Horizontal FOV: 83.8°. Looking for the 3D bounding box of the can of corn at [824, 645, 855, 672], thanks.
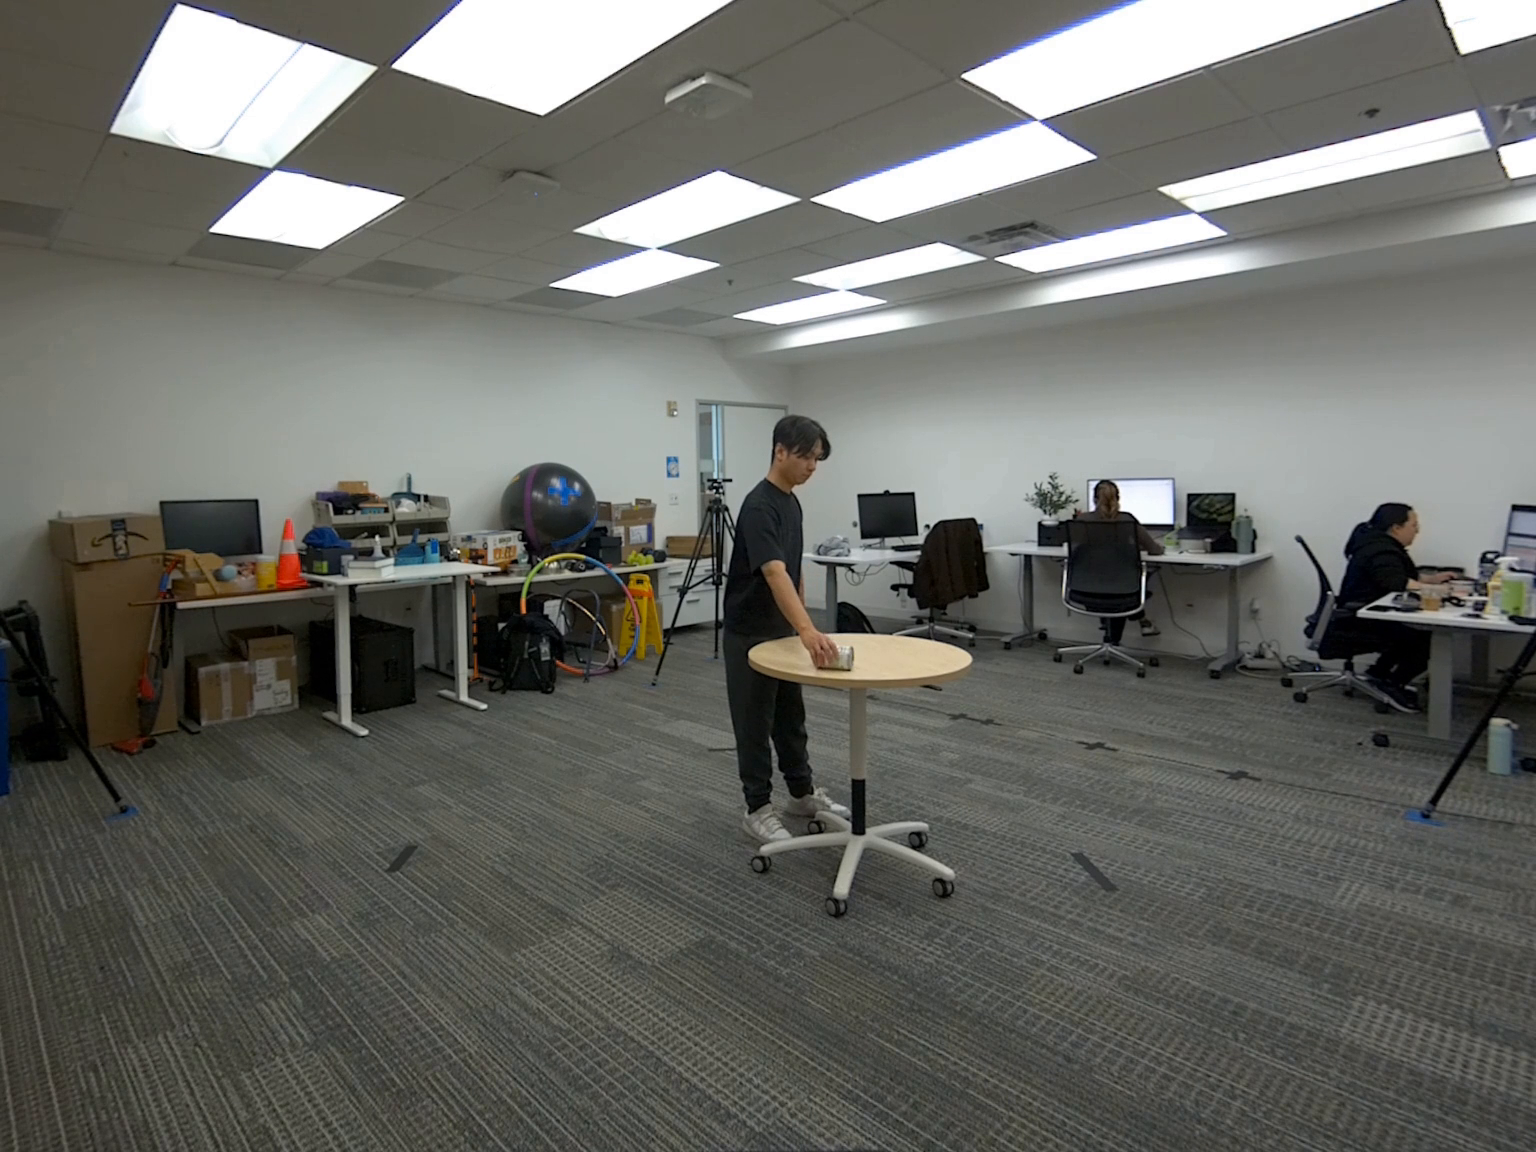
[{"bbox_3d":[0.212,0.261,2.750,0.113,0.074,0.073,-1,5,18],"label":"can of corn"}]
